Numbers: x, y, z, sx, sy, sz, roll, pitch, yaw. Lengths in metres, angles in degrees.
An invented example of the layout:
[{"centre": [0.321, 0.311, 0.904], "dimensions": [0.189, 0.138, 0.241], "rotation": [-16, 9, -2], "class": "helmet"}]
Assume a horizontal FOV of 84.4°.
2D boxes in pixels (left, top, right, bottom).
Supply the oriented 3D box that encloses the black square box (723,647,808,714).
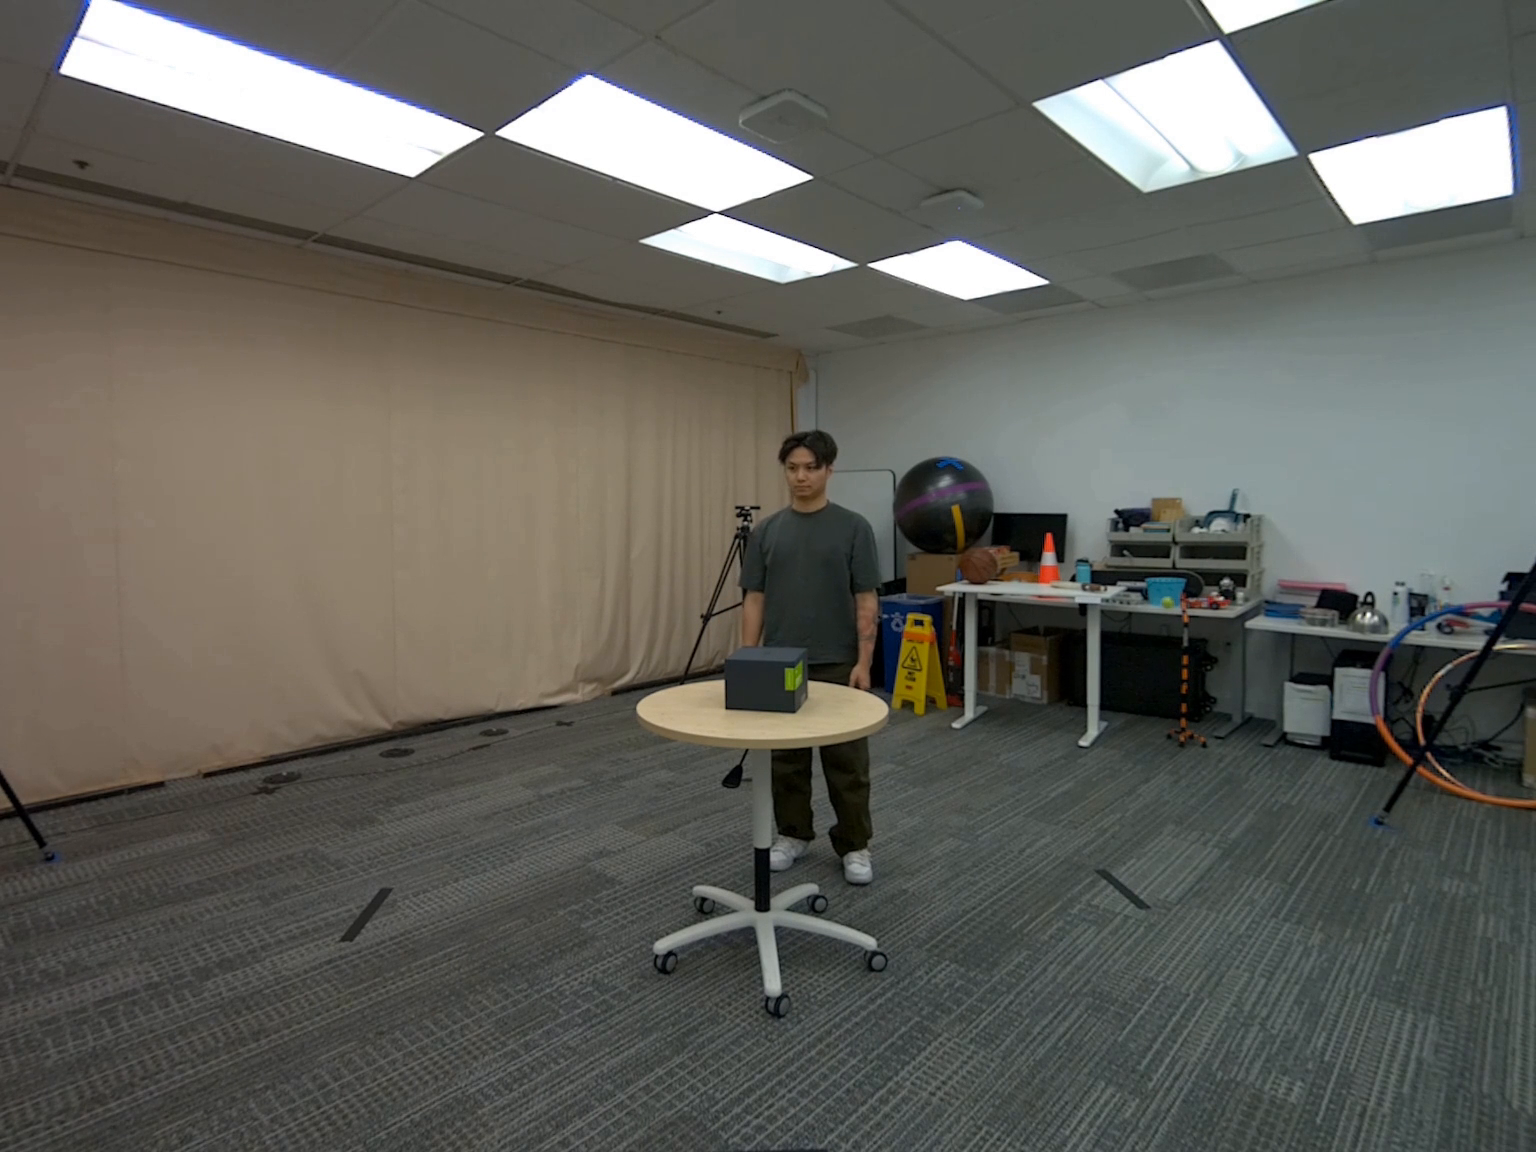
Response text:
[{"centre": [-0.001, 0.309, 2.599], "dimensions": [0.220, 0.155, 0.225], "rotation": [0, 5, 14], "class": "black square box"}]
